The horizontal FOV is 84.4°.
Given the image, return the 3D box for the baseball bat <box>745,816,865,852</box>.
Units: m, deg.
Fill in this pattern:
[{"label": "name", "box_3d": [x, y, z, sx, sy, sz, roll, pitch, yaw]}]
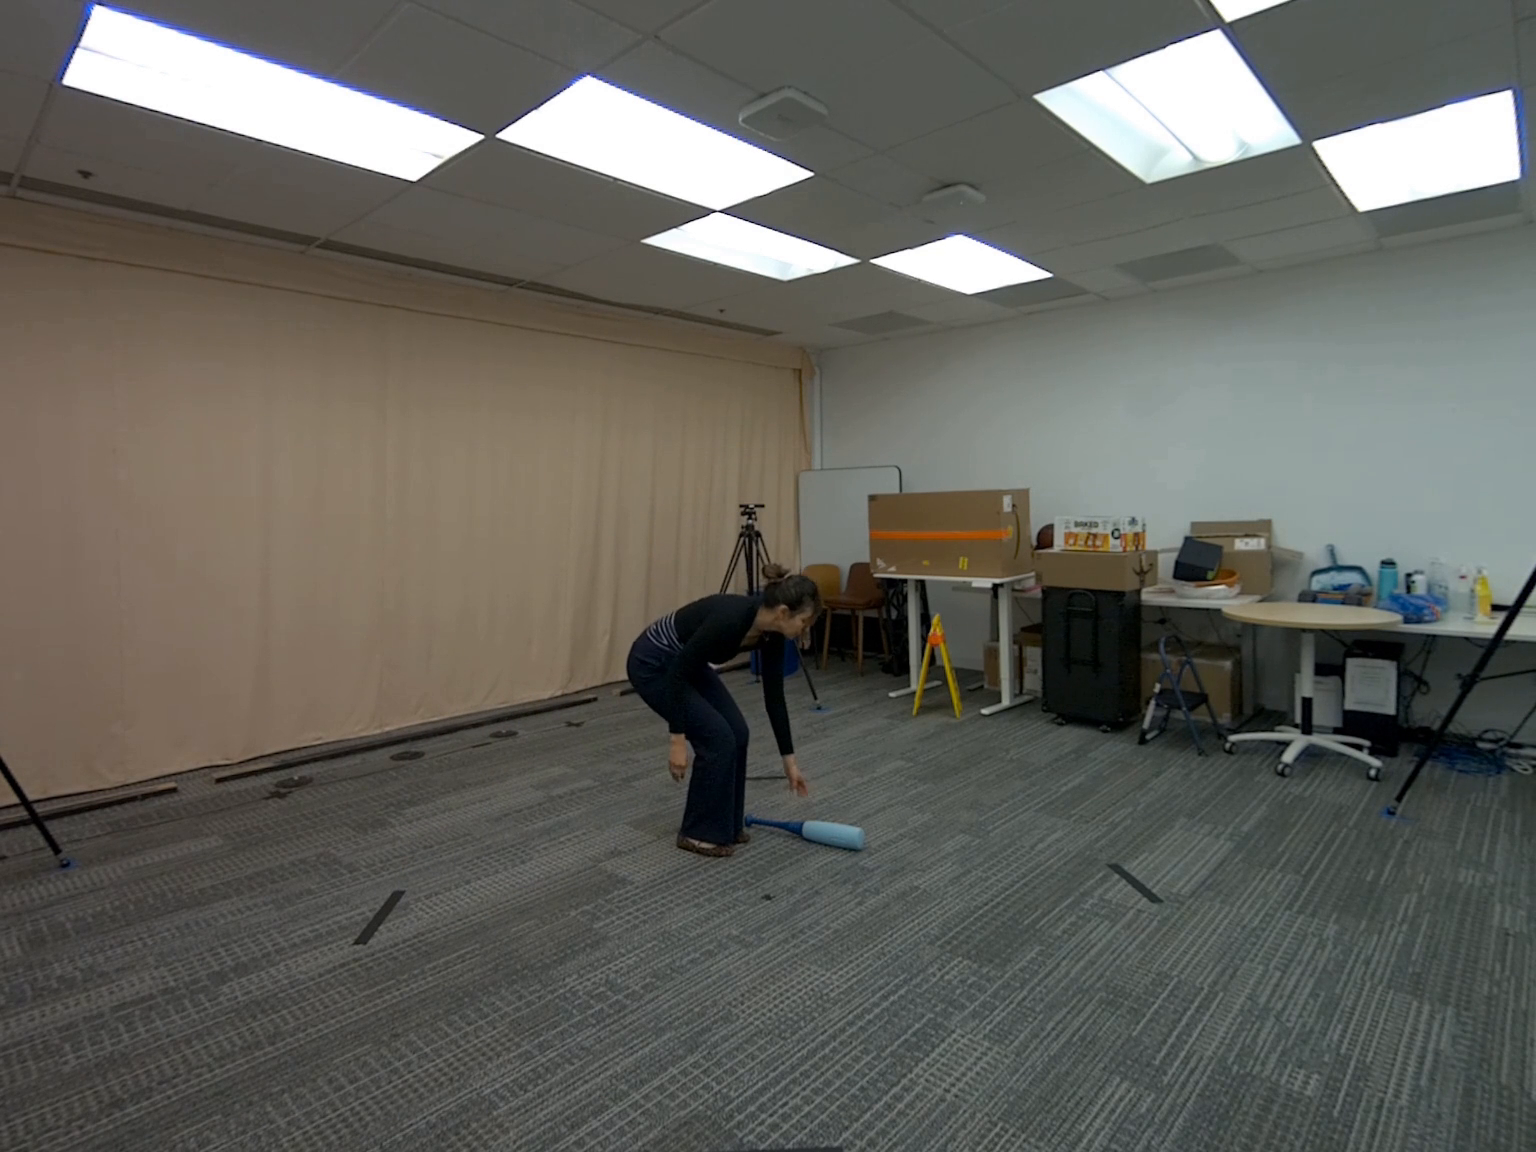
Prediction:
[{"label": "baseball bat", "box_3d": [0.146, 1.057, 3.504, 0.558, 0.089, 0.086, -1, 3, 32]}]
